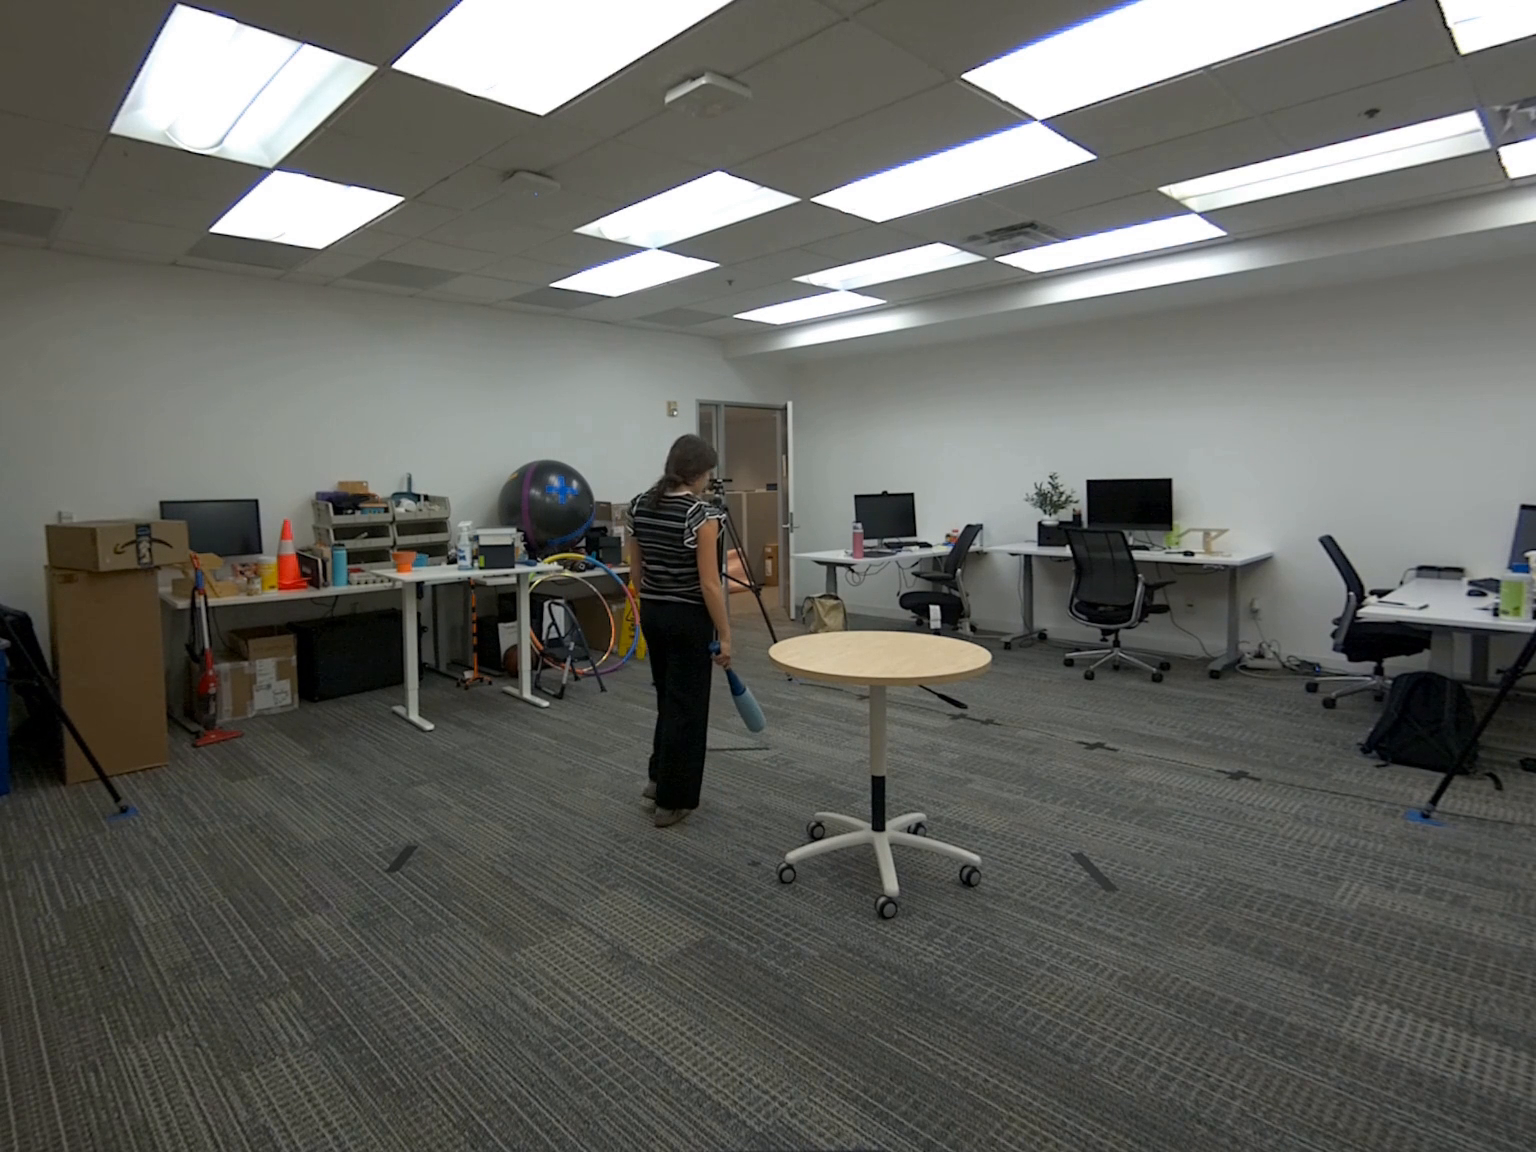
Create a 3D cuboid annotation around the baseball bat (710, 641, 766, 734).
[{"bbox_3d":[-0.146,0.465,3.541,0.090,0.524,0.091,-17,38,12],"label":"baseball bat"}]
